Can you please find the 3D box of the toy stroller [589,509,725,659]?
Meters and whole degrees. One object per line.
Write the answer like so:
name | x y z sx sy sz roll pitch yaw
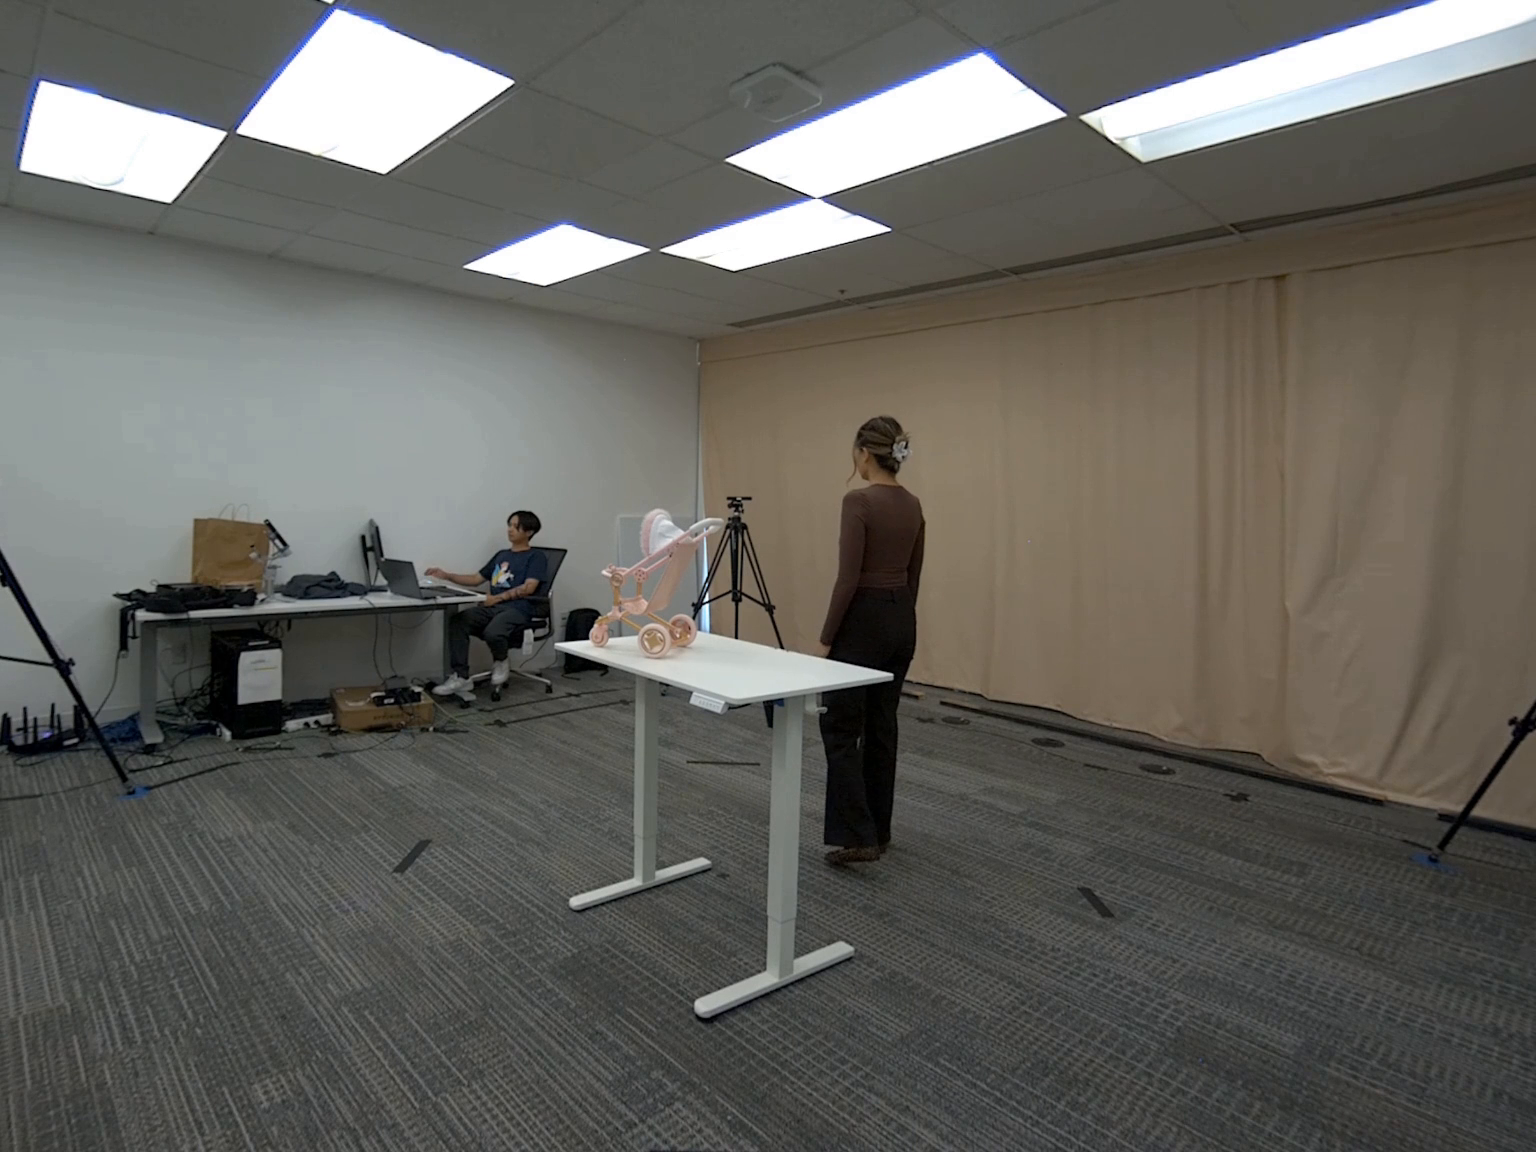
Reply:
toy stroller | -0.393 0.025 2.772 0.348 0.533 0.277 19 8 20
